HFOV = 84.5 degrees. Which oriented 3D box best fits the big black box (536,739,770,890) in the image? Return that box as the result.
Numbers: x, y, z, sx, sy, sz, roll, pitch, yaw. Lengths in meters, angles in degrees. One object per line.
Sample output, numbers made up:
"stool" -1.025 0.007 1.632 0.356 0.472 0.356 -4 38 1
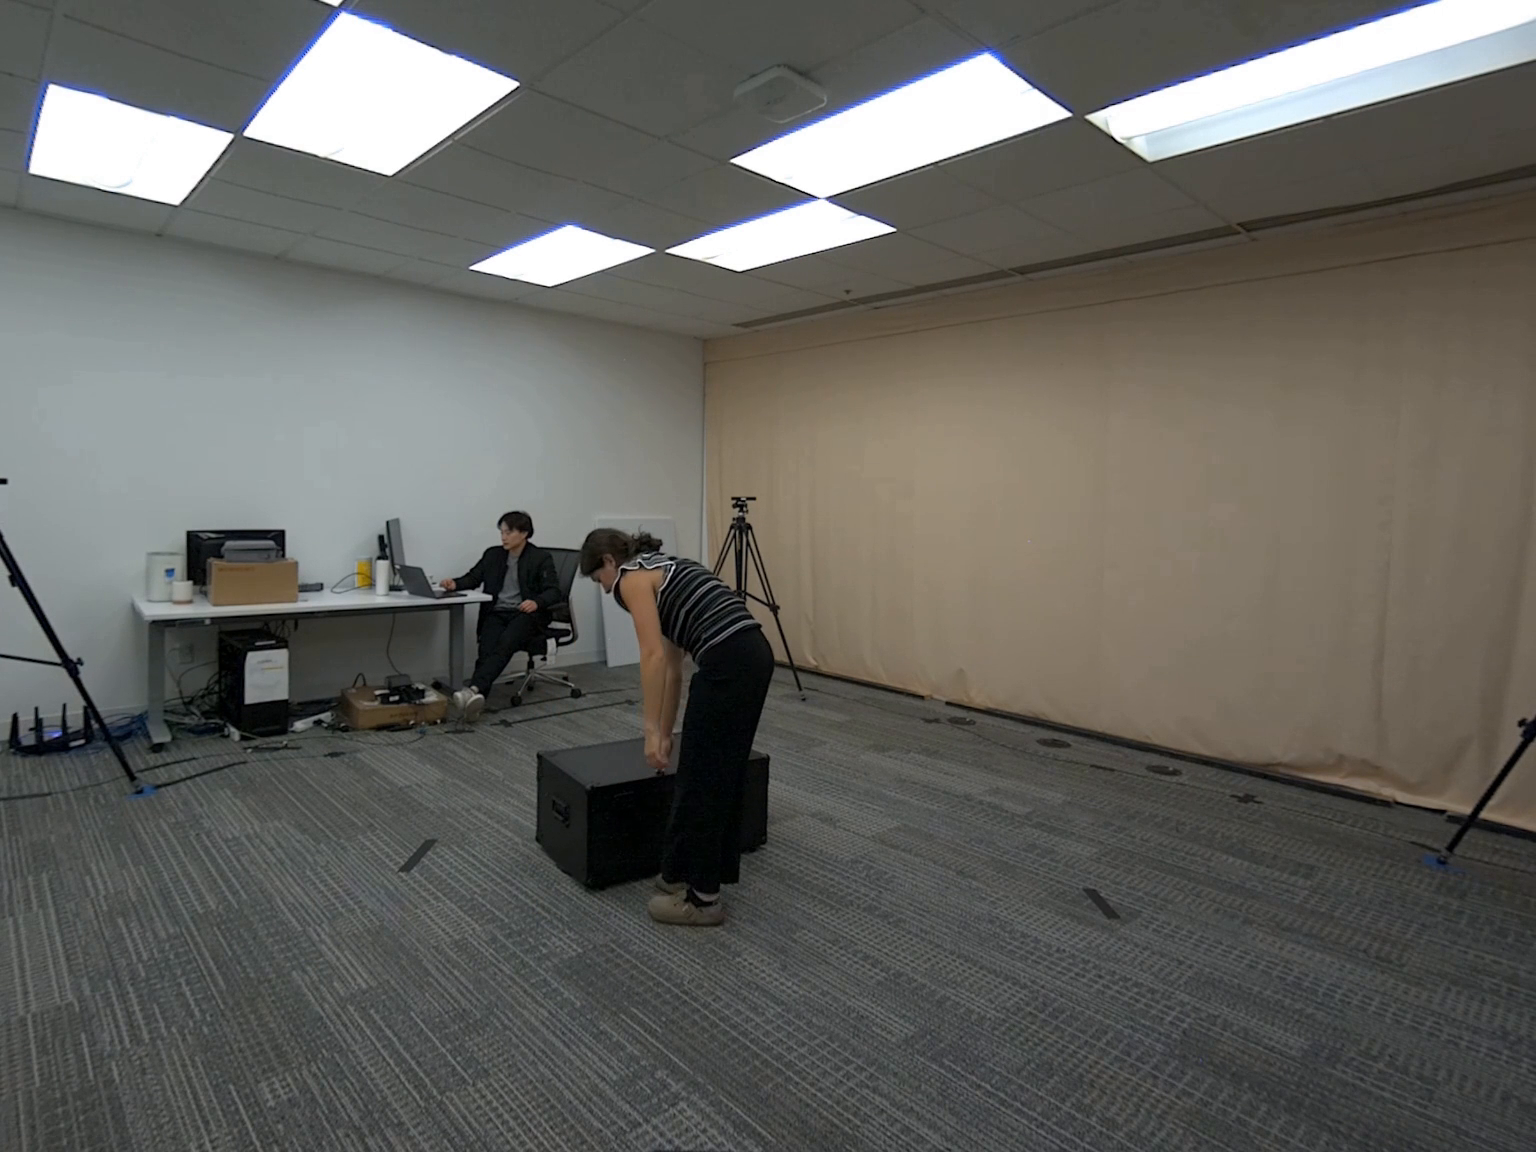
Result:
"big black box" -0.433 0.890 3.341 0.843 0.395 0.534 -3 6 -35
